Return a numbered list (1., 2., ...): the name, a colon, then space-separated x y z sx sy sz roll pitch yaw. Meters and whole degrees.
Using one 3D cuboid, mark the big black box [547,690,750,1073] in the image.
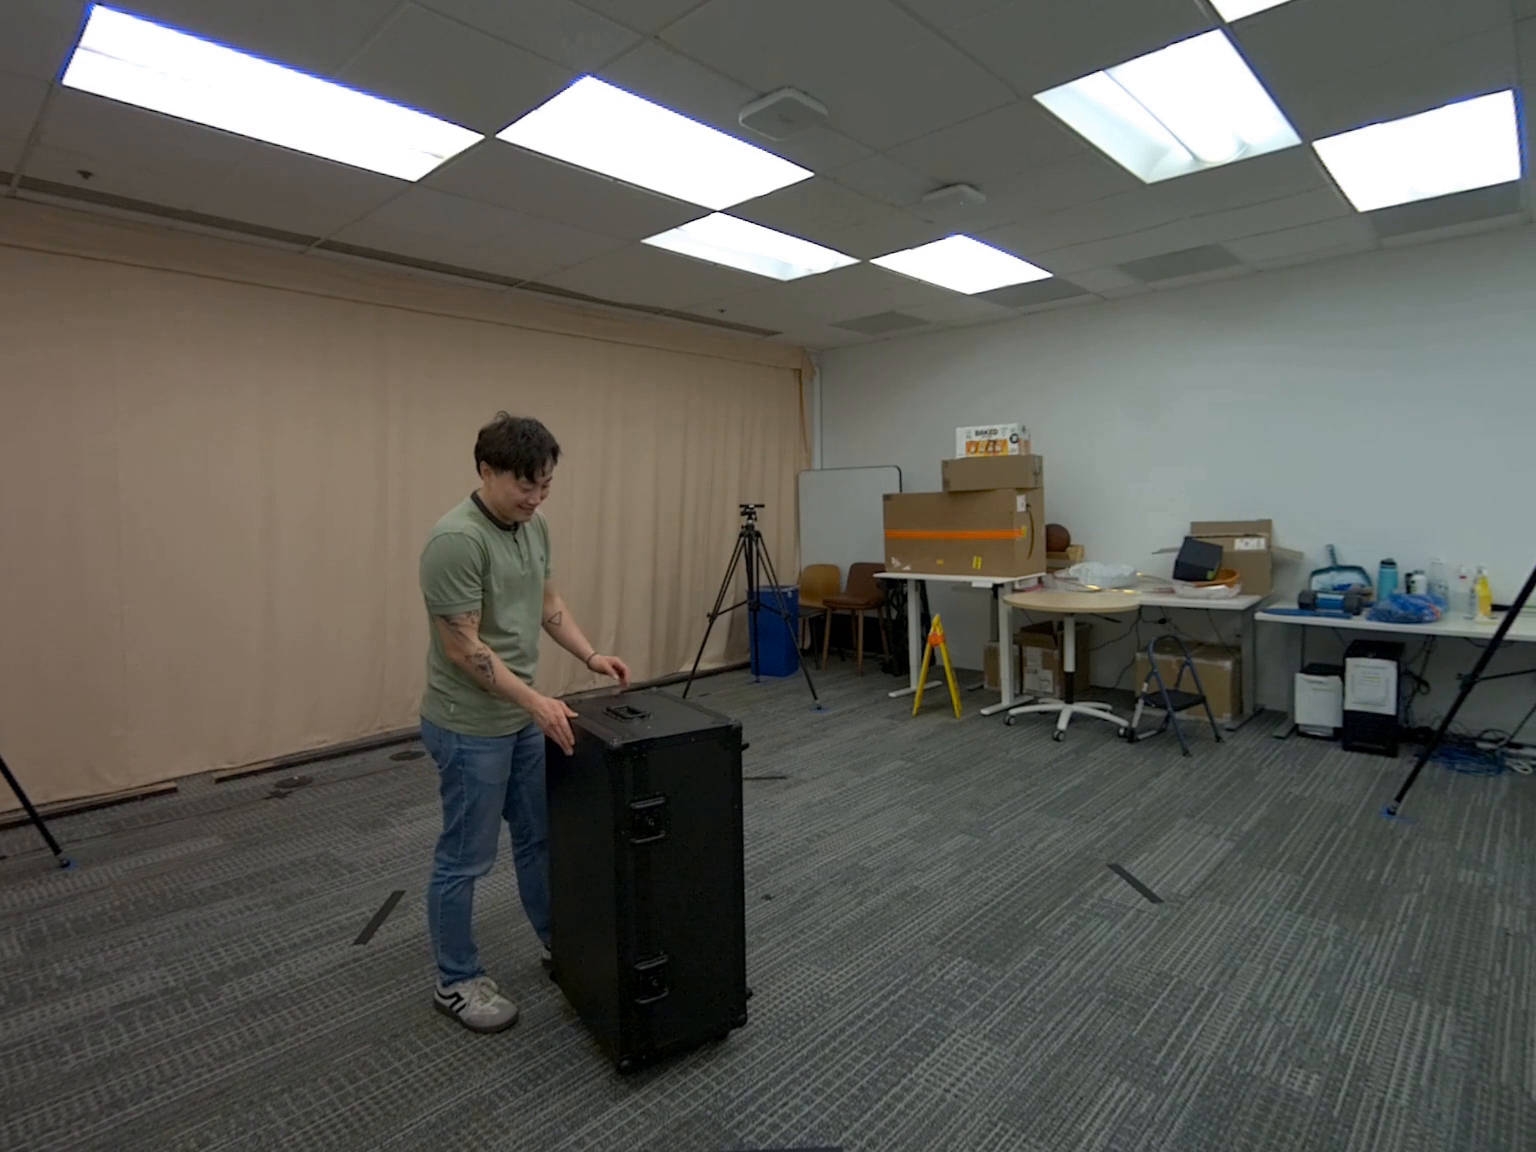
1. big black box: -0.325 0.787 2.243 0.385 0.860 0.537 -2 3 -33
